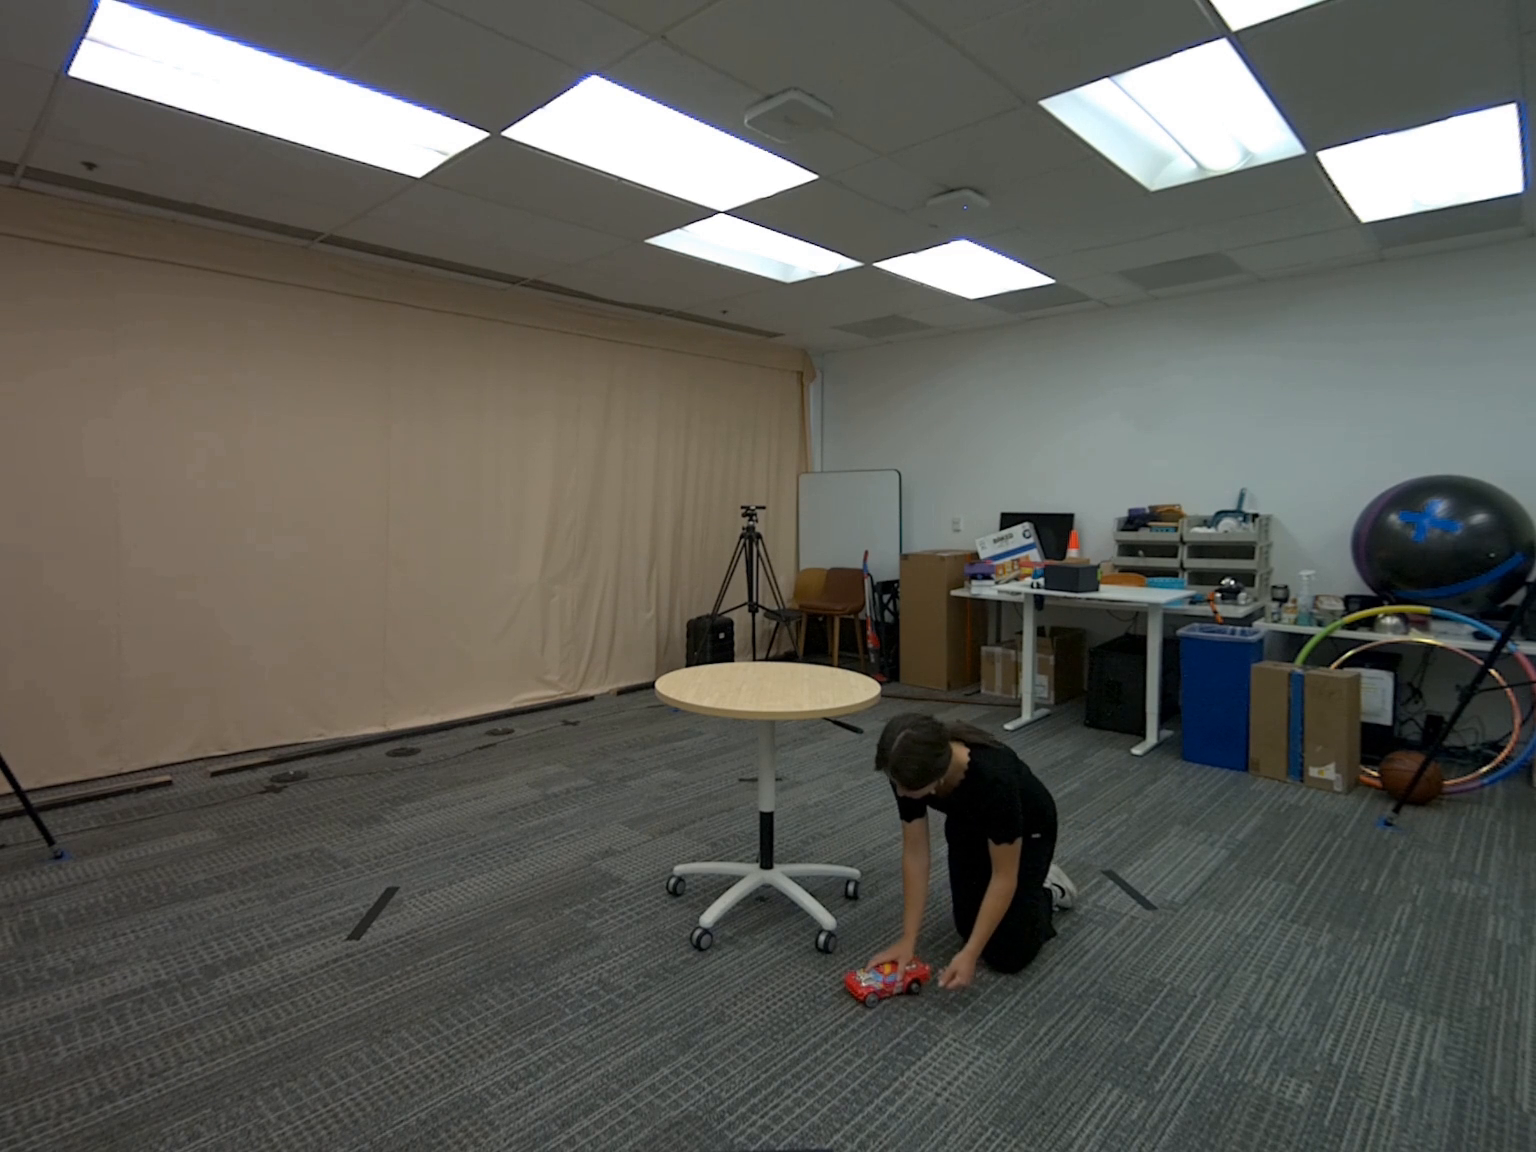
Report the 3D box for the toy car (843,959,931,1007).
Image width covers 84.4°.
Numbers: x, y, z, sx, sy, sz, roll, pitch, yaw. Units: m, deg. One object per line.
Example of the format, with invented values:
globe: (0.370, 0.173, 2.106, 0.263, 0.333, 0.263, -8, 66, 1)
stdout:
toy car: (0.352, 1.165, 2.415, 0.250, 0.083, 0.133, -13, 9, -22)
